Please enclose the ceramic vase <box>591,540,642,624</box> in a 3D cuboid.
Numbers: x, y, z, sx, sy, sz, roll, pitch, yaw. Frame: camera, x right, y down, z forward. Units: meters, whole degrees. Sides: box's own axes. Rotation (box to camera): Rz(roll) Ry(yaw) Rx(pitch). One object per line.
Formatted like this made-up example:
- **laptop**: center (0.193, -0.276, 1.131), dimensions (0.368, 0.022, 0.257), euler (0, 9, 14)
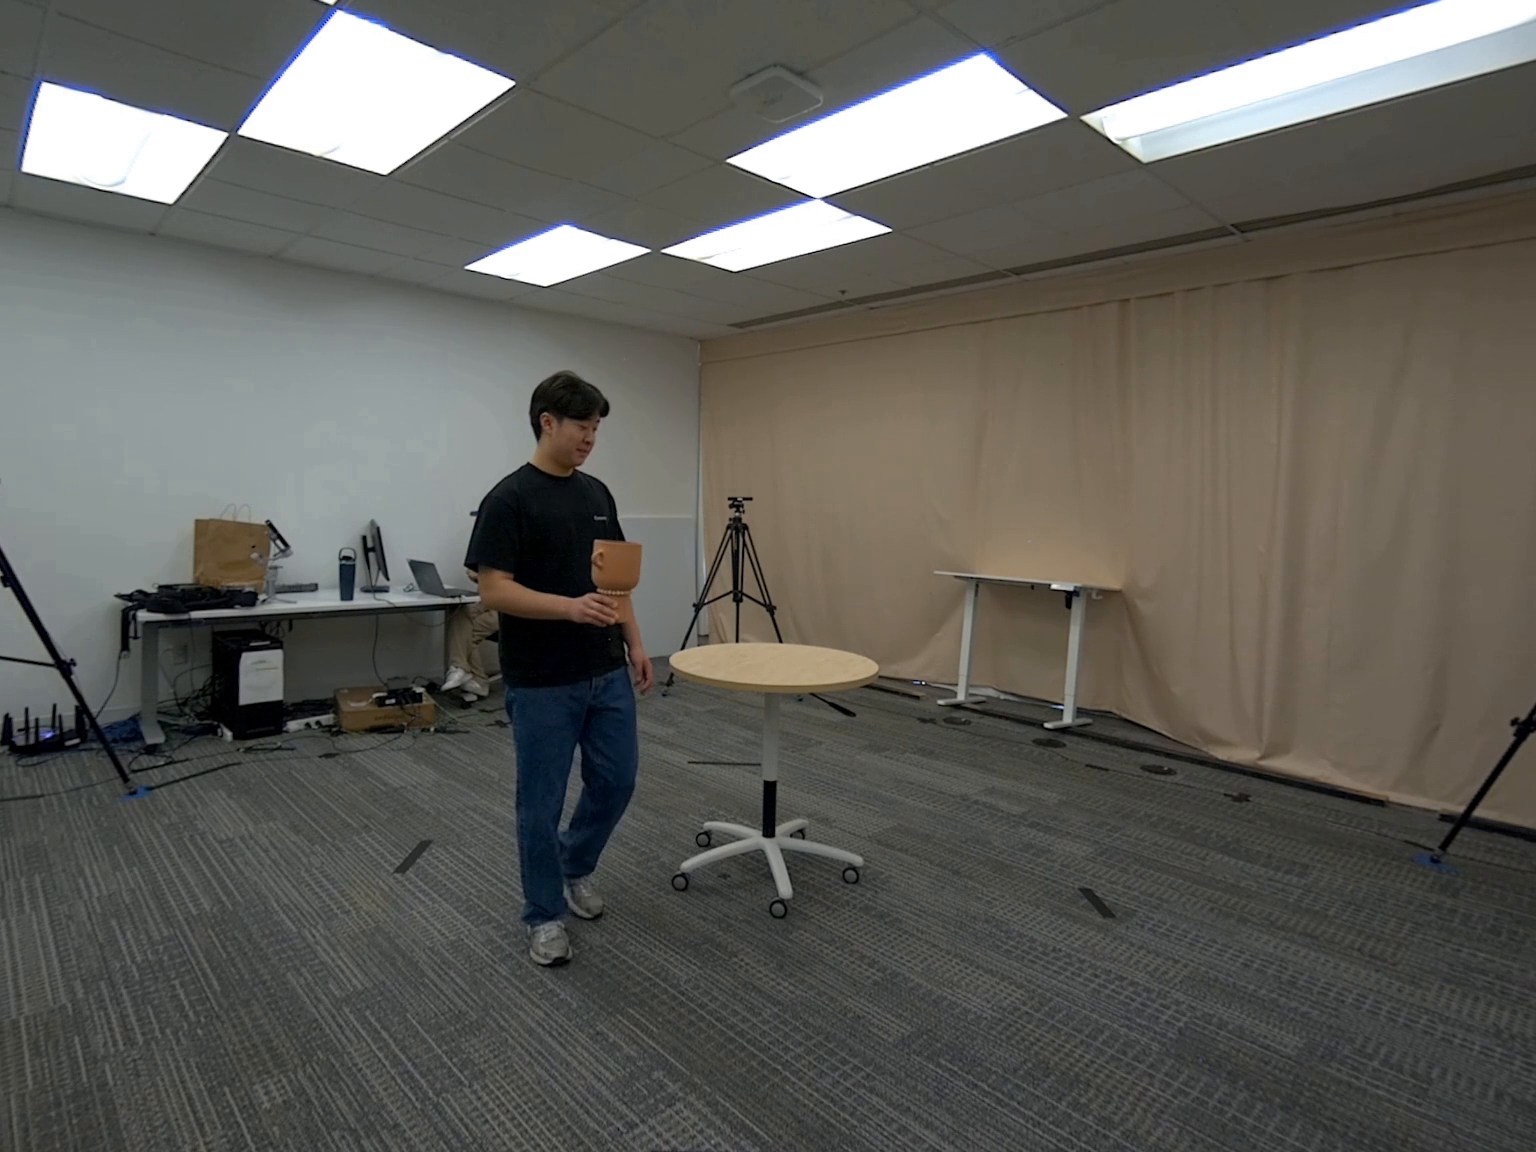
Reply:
- **ceramic vase**: center (-0.437, 0.016, 2.333), dimensions (0.156, 0.219, 0.137), euler (4, 2, -20)
